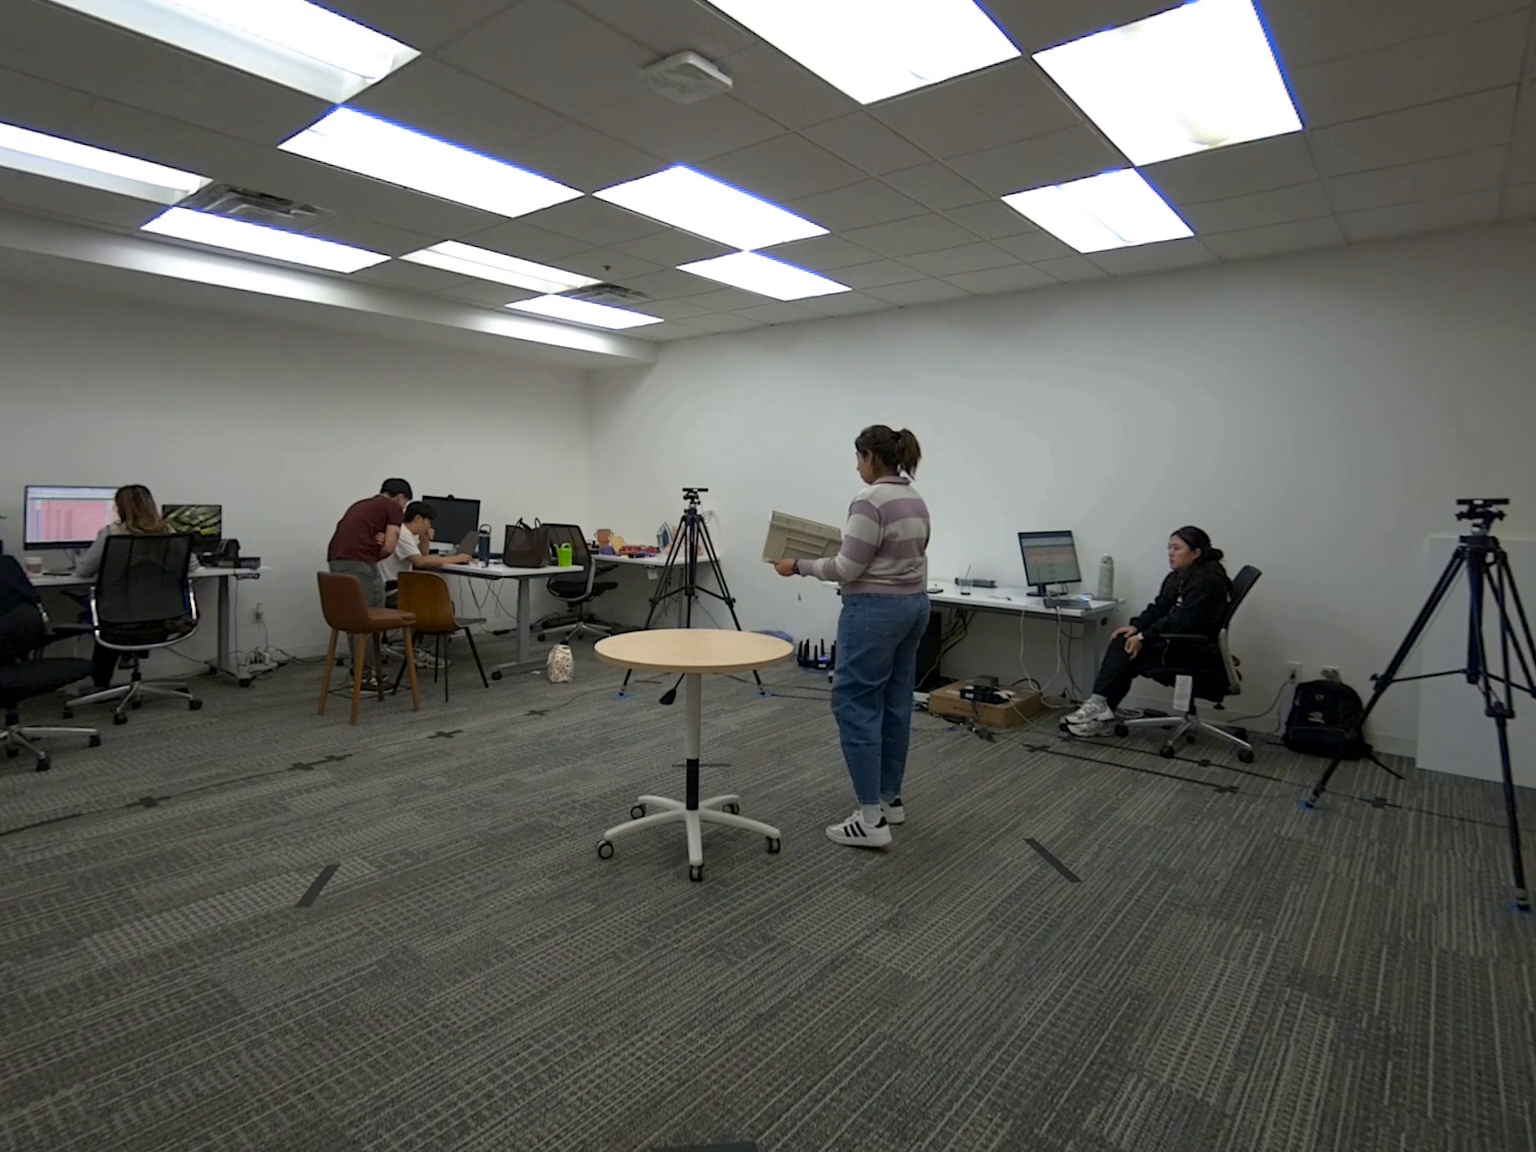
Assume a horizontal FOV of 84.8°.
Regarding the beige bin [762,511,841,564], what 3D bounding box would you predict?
[{"bbox_3d":[0.158,-0.145,3.819,0.378,0.187,0.425,13,12,1],"label":"beige bin"}]
